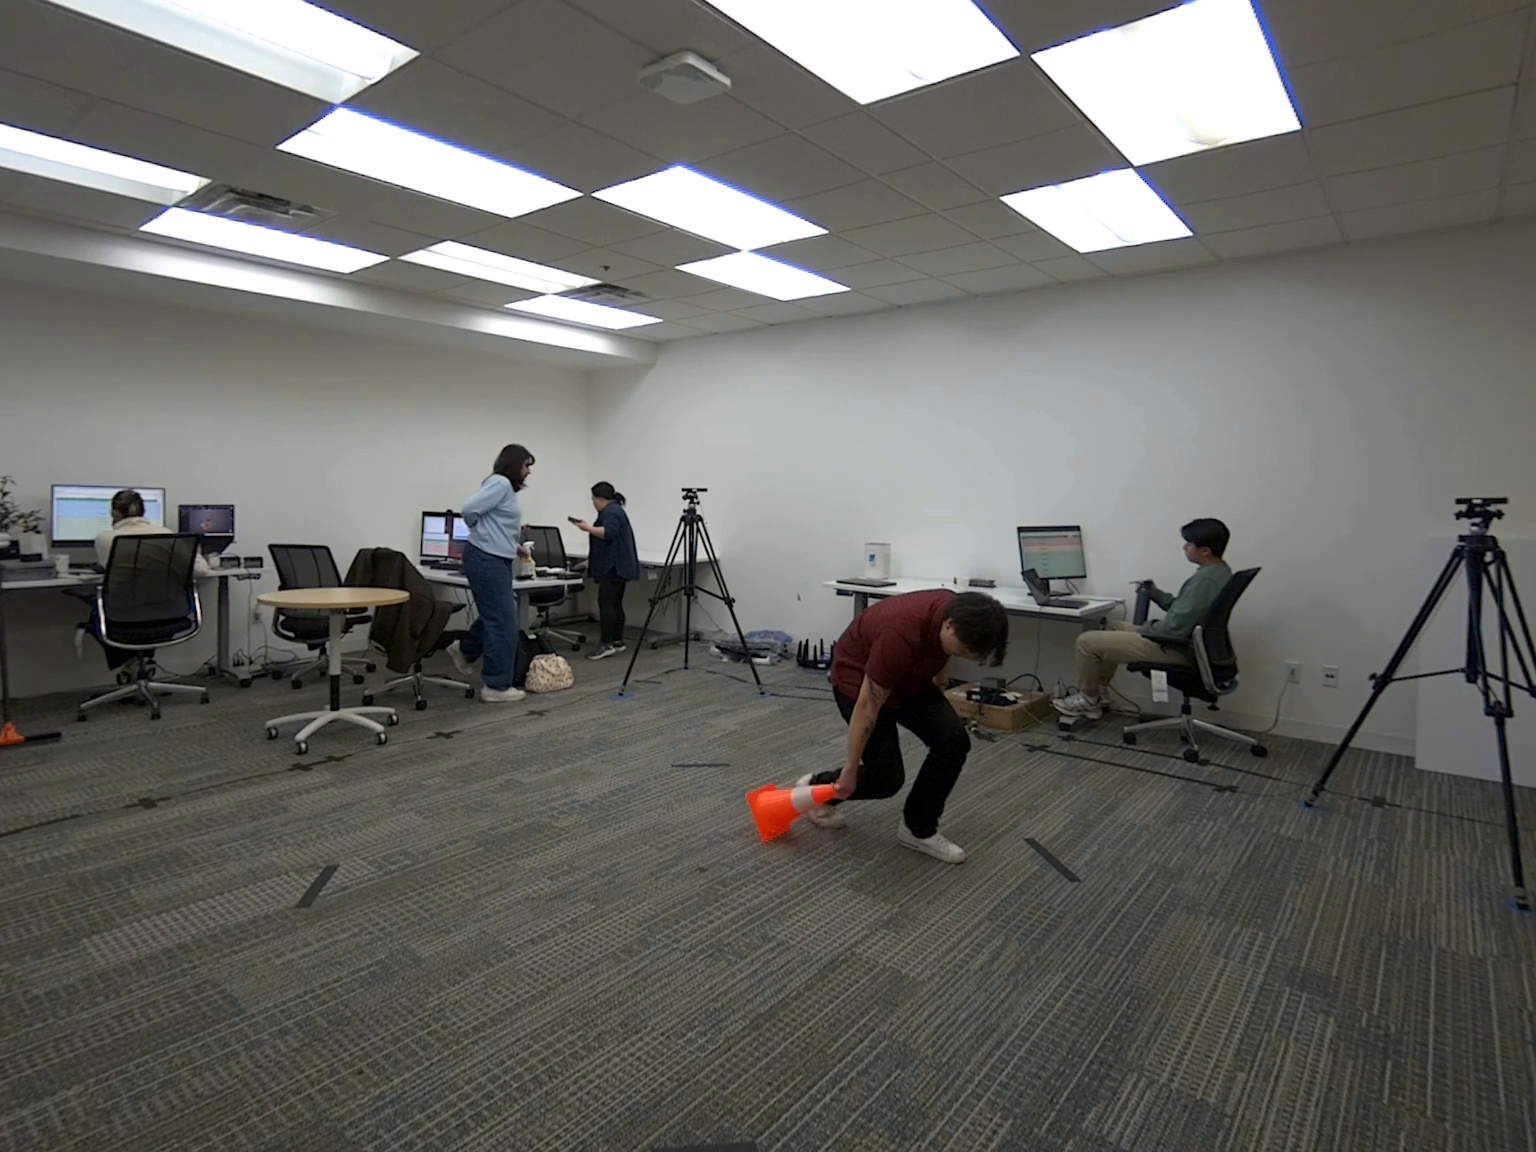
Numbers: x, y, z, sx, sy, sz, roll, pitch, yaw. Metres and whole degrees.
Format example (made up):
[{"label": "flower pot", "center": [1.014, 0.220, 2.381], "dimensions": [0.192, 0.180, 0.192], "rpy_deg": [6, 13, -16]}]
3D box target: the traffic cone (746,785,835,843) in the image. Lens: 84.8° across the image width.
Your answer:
[{"label": "traffic cone", "center": [0.138, 0.880, 3.355], "dimensions": [0.388, 0.208, 0.198], "rpy_deg": [-28, -20, 32]}]
